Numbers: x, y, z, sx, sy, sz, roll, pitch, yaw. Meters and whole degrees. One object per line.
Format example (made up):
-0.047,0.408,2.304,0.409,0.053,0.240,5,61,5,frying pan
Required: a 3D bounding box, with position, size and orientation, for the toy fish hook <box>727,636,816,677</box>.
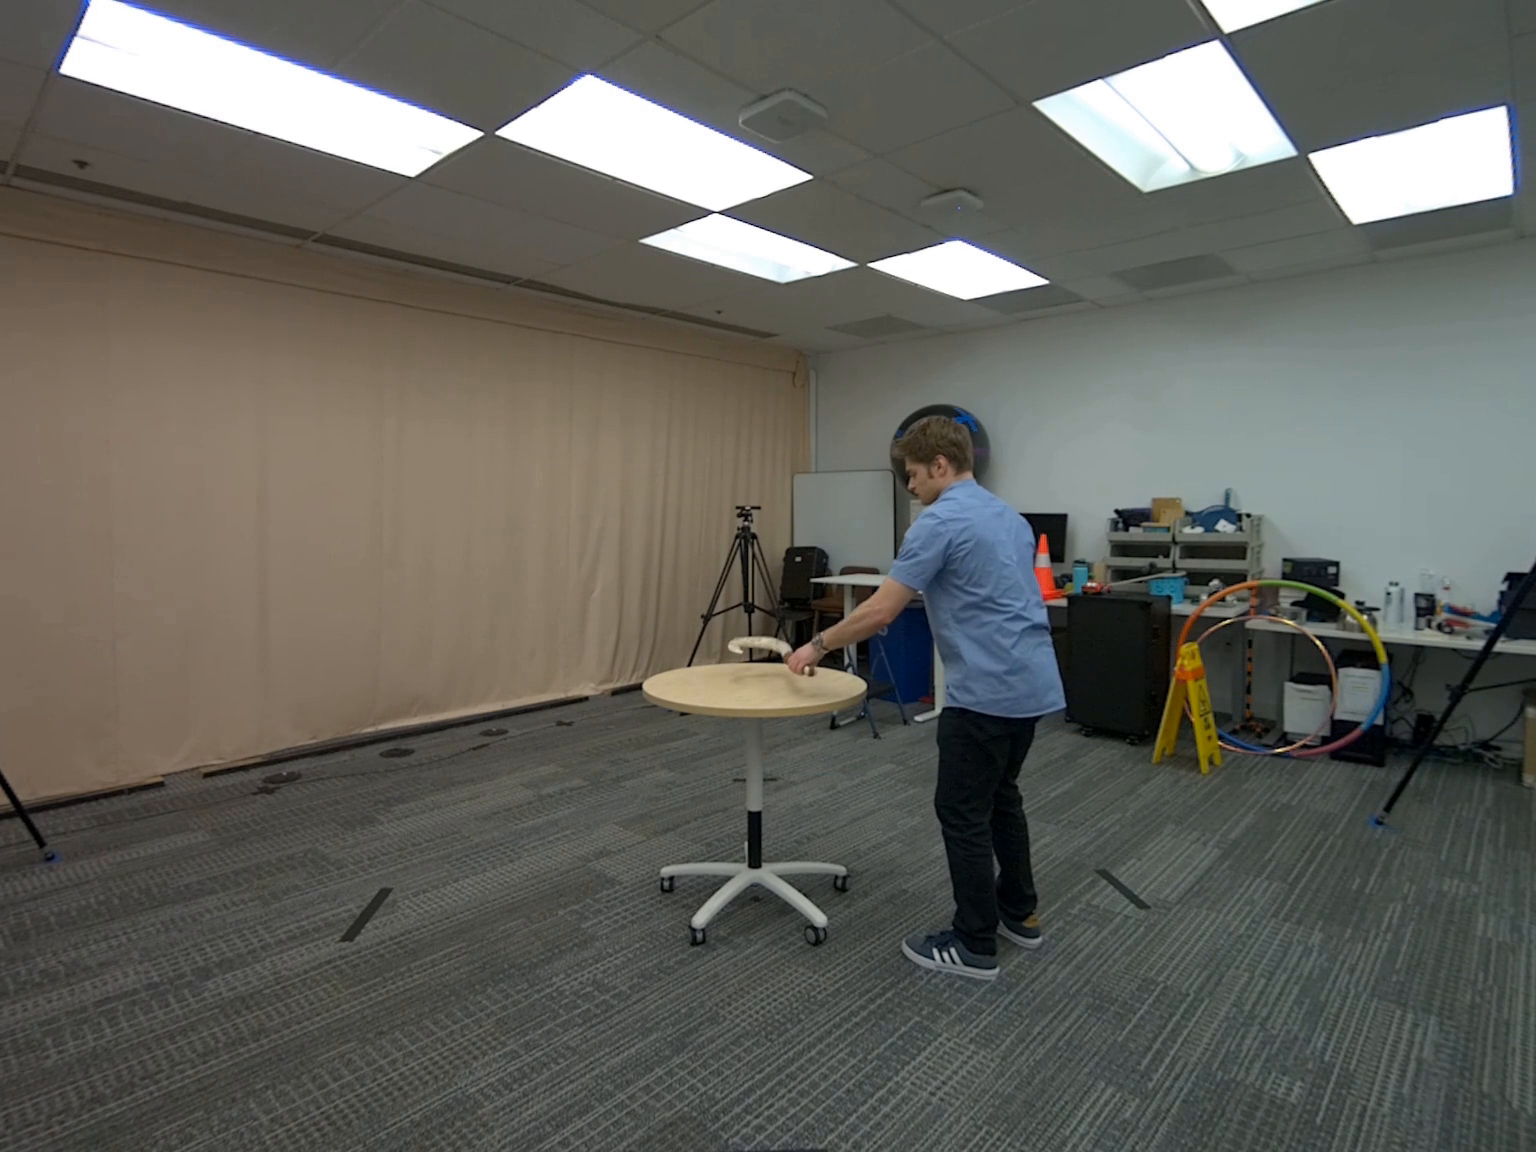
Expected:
0.030,0.267,2.819,0.221,0.048,0.517,-4,8,-18,toy fish hook
